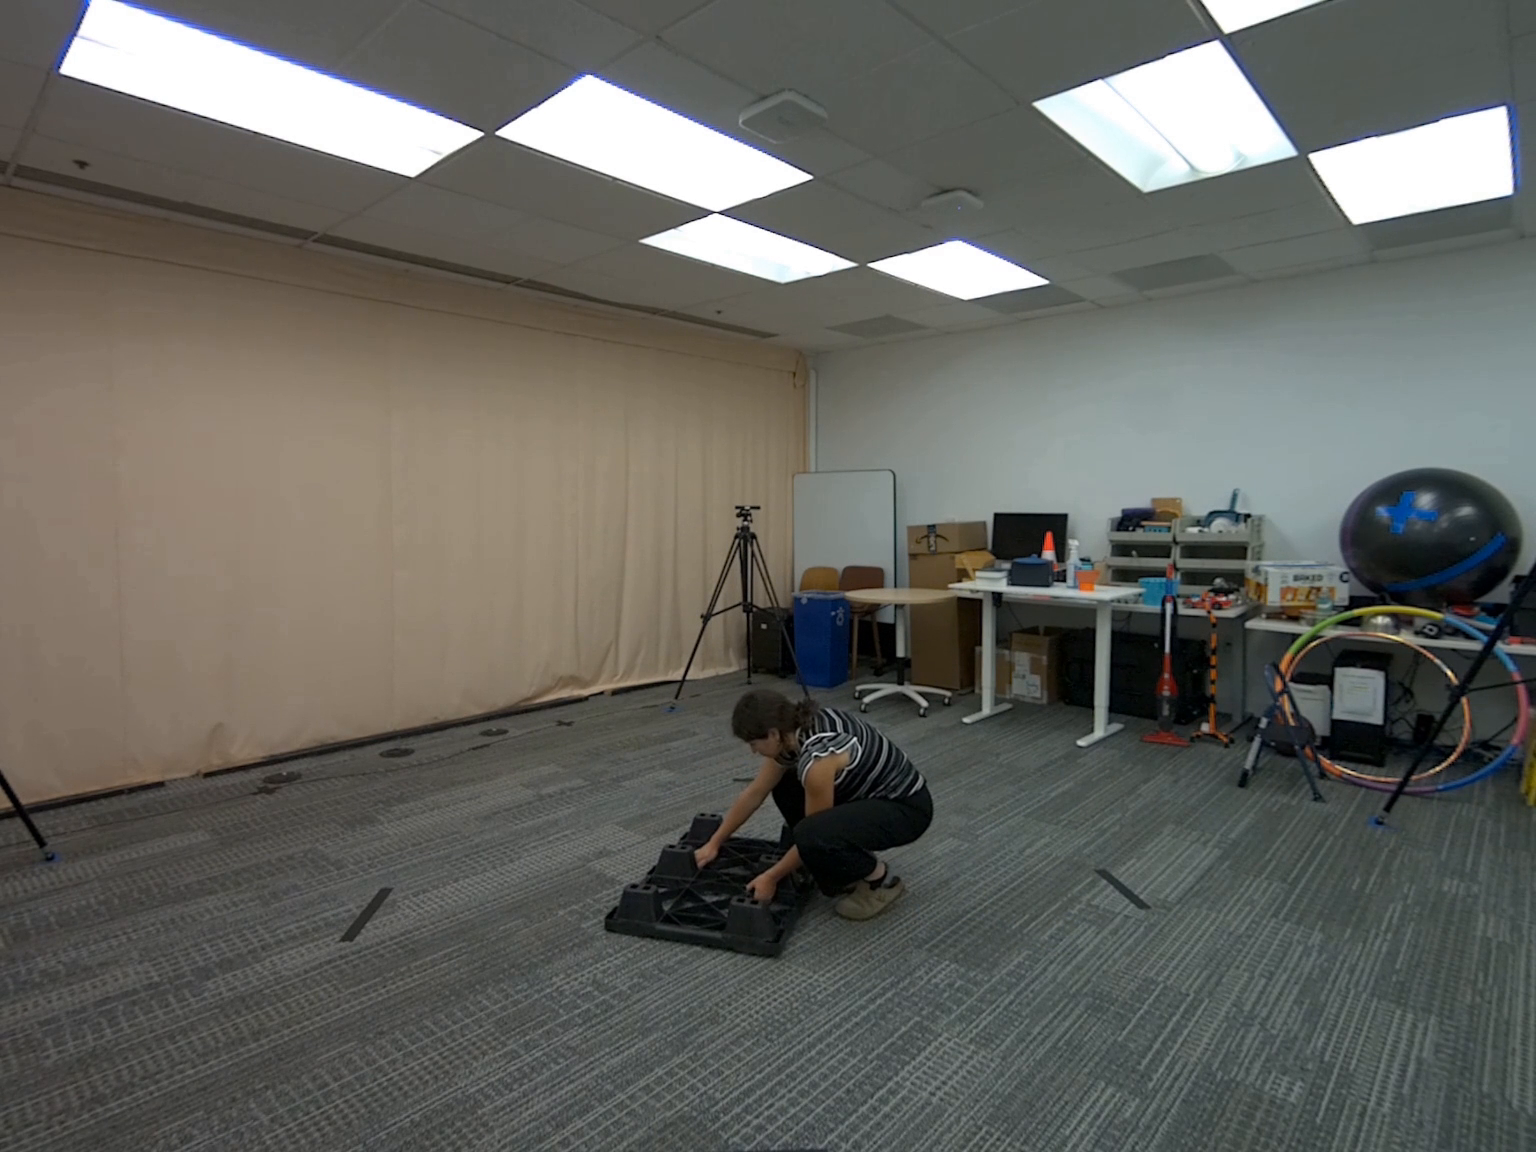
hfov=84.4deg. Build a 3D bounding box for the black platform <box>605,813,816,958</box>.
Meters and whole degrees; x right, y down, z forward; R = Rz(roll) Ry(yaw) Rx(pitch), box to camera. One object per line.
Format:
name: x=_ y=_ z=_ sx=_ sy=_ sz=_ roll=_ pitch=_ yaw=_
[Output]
black platform: x=-0.146 y=1.066 z=3.037 sx=0.616 sy=0.143 sz=0.793 roll=0 pitch=5 yaw=16
